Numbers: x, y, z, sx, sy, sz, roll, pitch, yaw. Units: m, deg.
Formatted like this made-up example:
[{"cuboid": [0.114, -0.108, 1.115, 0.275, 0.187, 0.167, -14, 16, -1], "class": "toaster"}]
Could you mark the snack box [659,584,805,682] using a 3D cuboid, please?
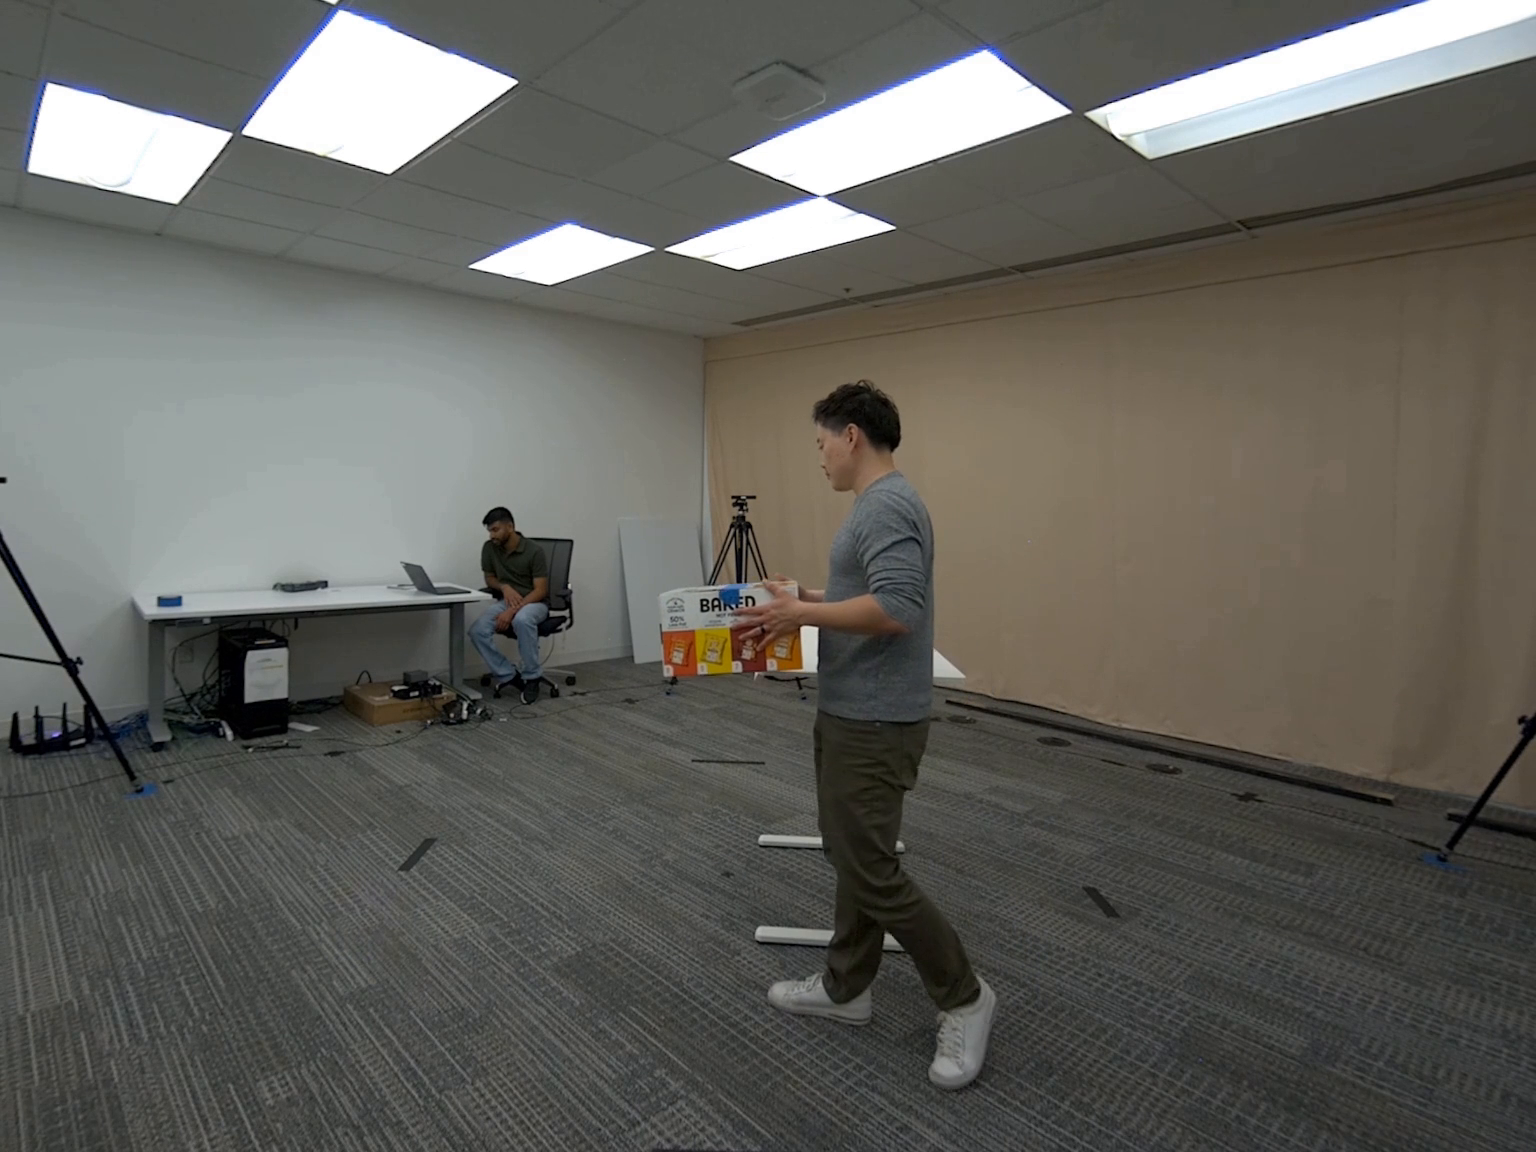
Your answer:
[{"cuboid": [-0.080, 0.136, 2.215, 0.341, 0.206, 0.404, -2, 1, 3], "class": "snack box"}]
